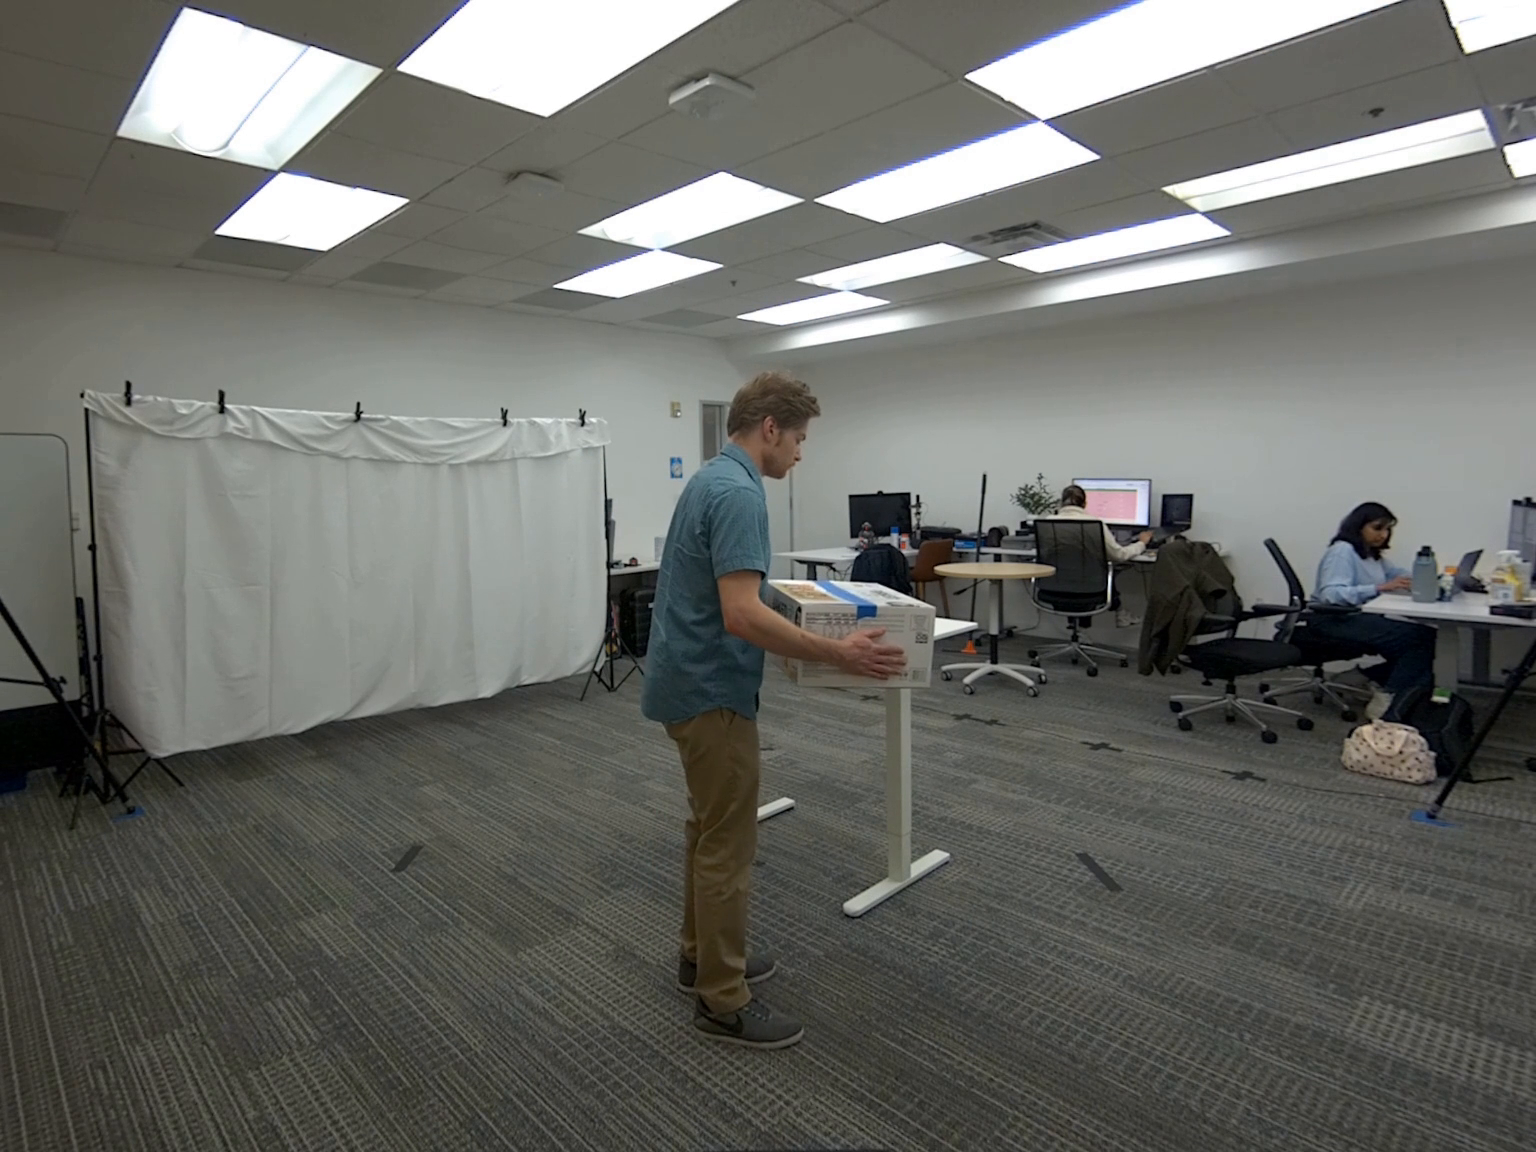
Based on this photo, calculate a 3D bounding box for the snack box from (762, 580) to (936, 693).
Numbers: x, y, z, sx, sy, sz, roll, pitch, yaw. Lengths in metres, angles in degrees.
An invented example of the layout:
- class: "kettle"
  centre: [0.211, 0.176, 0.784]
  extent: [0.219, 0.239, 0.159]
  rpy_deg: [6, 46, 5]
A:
- class: "snack box"
  centre: [0.193, 0.146, 2.247]
  extent: [0.336, 0.205, 0.412]
  rpy_deg: [1, 7, -13]
